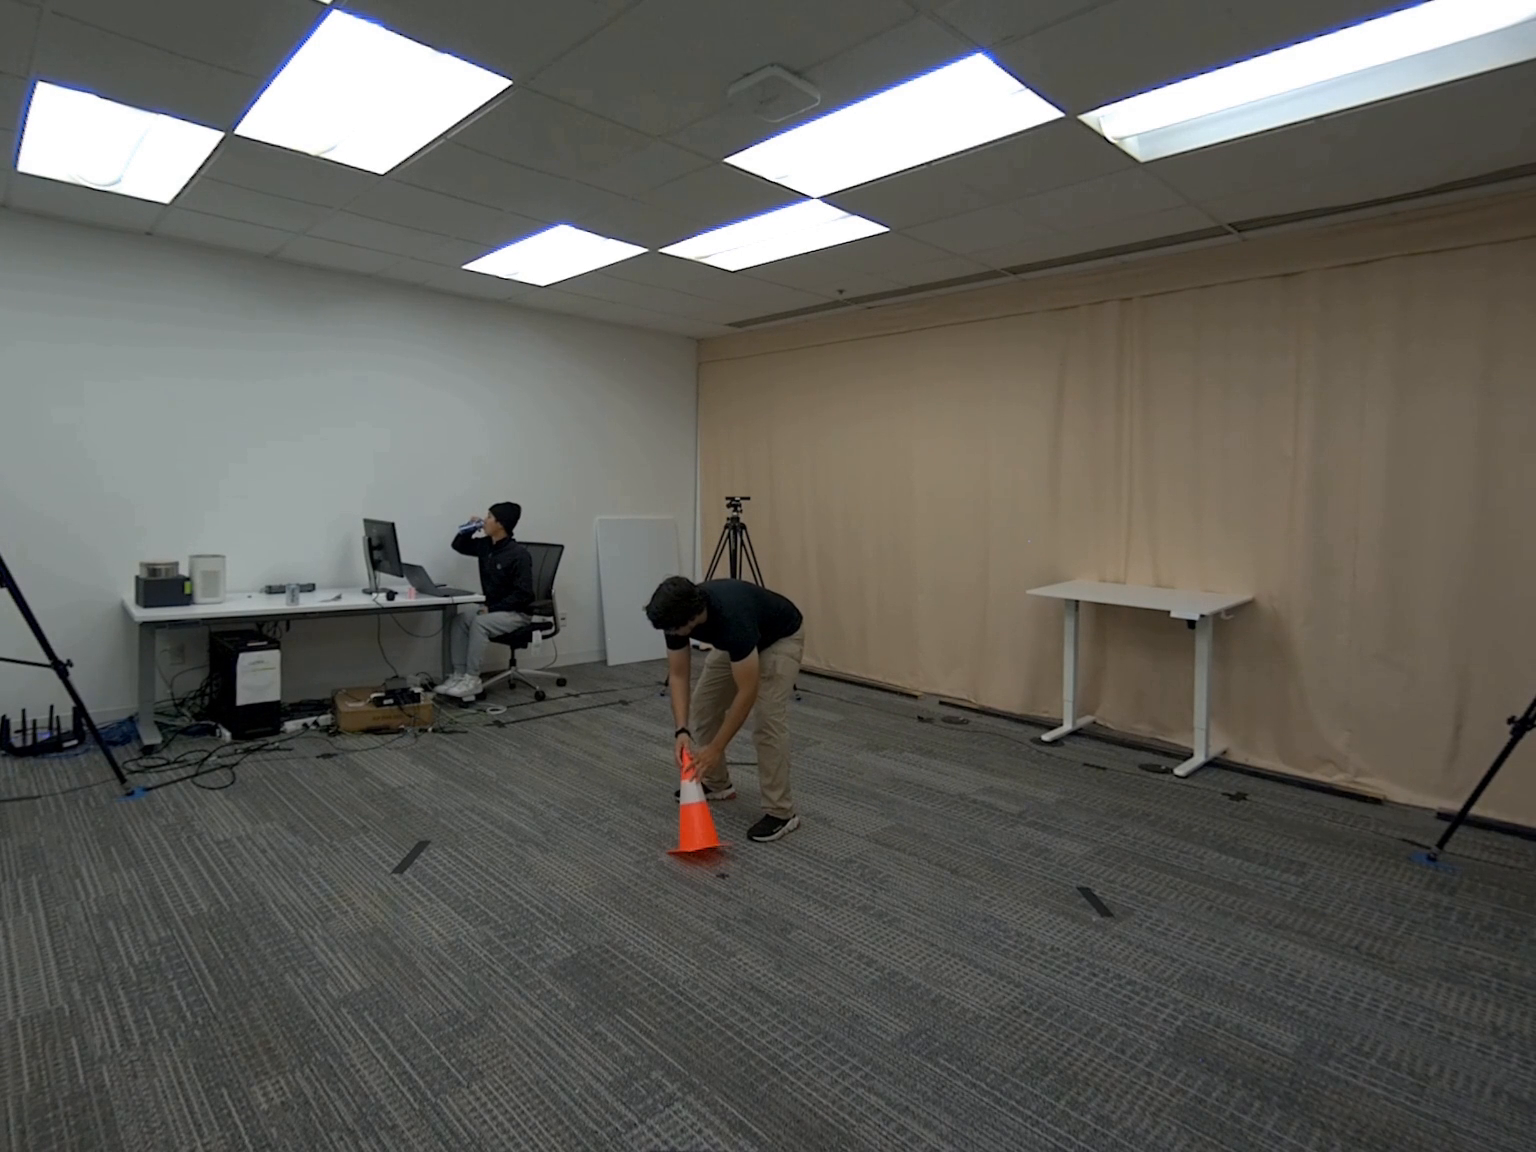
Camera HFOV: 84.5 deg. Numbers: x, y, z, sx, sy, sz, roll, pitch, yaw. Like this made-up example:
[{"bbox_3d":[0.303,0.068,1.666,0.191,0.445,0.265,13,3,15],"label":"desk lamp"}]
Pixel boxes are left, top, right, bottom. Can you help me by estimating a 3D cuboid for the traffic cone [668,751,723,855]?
[{"bbox_3d":[-0.312,0.879,3.331,0.200,0.388,0.206,5,-20,-43],"label":"traffic cone"}]
